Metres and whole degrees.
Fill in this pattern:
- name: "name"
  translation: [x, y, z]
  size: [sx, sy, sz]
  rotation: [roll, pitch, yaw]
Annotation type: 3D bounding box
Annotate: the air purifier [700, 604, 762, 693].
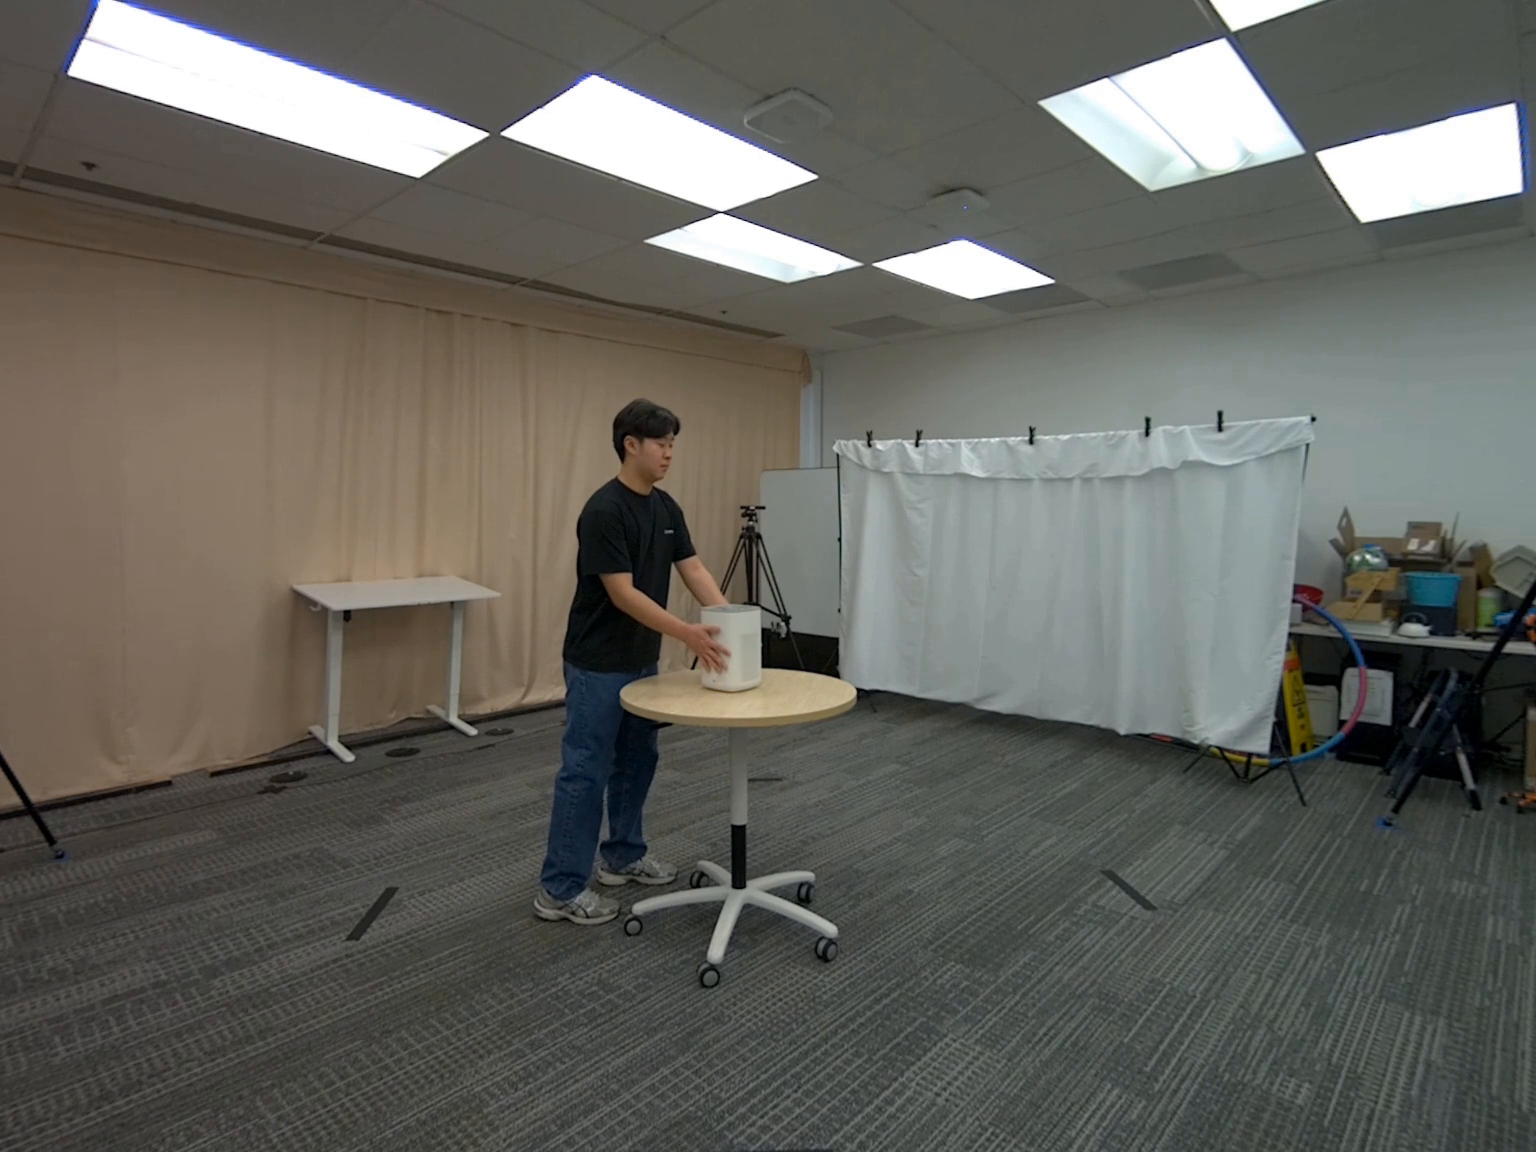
- name: "air purifier"
  translation: [-0.119, 0.238, 2.769]
  size: [0.176, 0.265, 0.166]
  rotation: [2, 3, 39]
